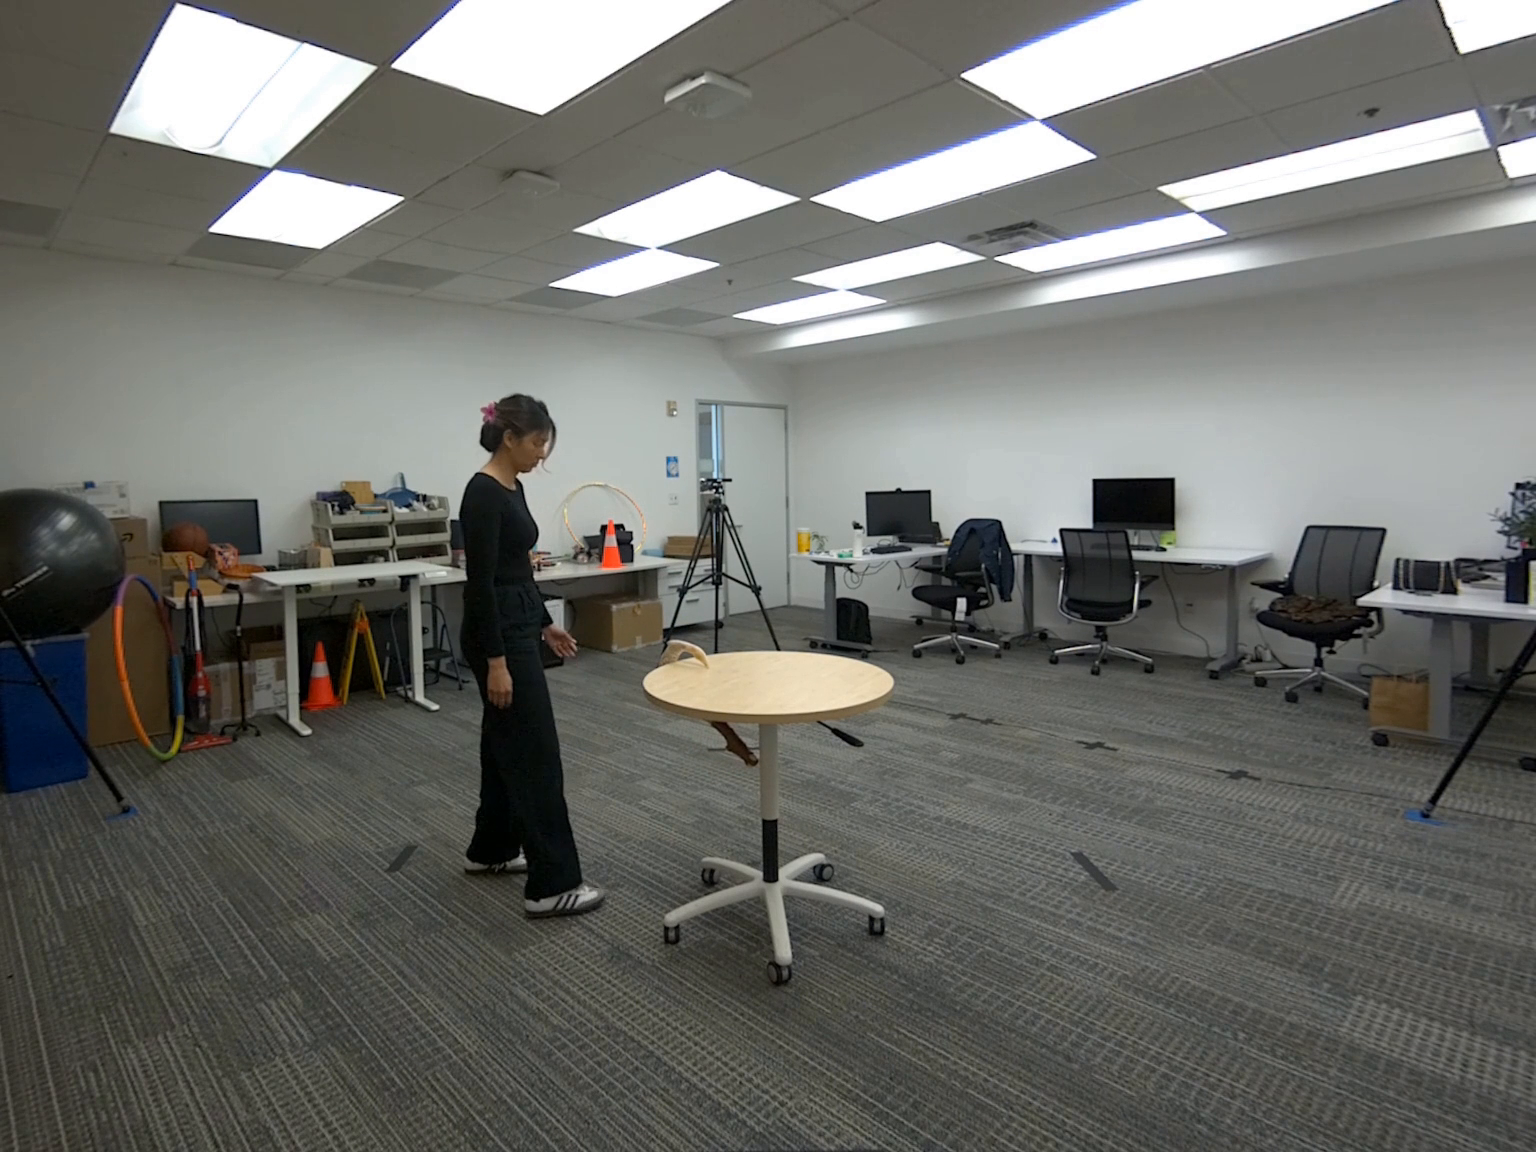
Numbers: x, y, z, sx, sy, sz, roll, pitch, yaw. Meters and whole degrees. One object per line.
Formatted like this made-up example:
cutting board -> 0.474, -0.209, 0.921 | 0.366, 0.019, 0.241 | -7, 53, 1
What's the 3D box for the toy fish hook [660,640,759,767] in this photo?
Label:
toy fish hook -> -0.187, 0.400, 2.770 | 0.525, 0.222, 0.047 | 38, 27, 32
